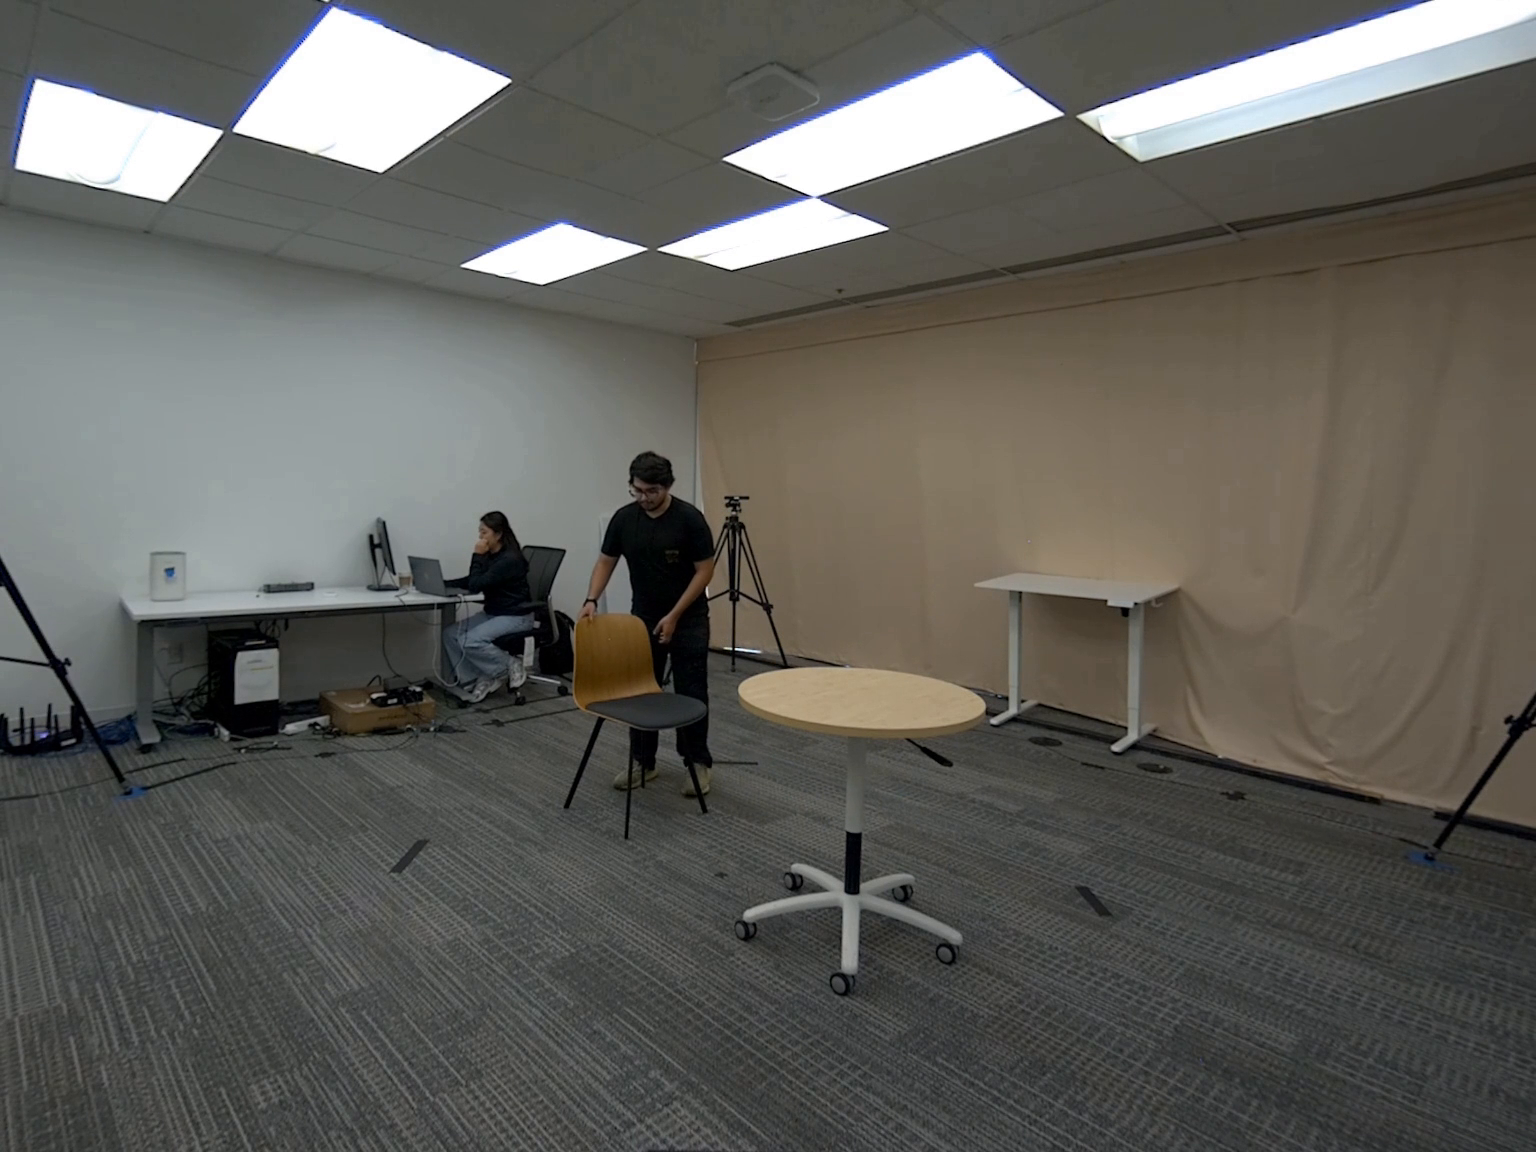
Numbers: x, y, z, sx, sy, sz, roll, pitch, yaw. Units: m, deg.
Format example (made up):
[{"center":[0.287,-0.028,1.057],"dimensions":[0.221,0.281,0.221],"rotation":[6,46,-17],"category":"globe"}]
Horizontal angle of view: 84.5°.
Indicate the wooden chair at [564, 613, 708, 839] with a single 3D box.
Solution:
[{"center":[-0.582,0.615,3.680],"dimensions":[0.535,0.877,0.467],"rotation":[-1,0,45],"category":"wooden chair"}]
